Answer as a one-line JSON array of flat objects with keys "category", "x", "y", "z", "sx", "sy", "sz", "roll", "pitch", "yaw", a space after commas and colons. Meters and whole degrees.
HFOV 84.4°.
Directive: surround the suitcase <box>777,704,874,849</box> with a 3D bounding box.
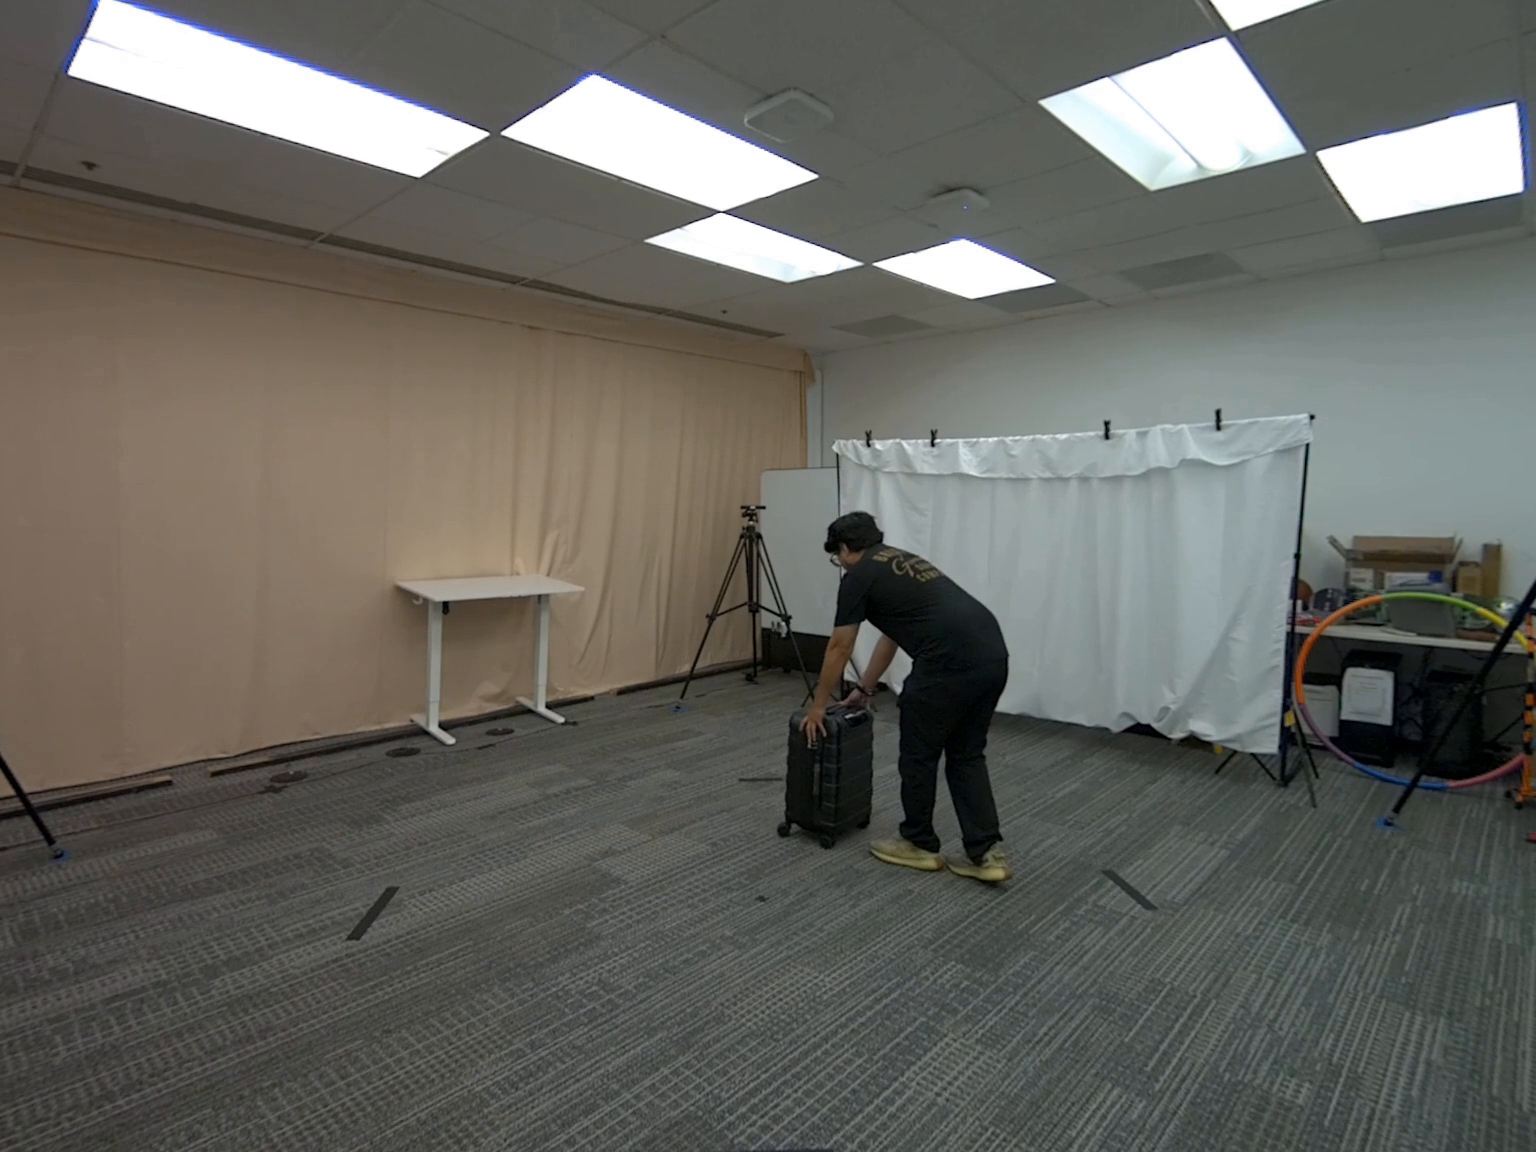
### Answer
[{"category": "suitcase", "x": 0.265, "y": 0.820, "z": 3.578, "sx": 0.256, "sy": 0.548, "sz": 0.364, "roll": 5, "pitch": 5, "yaw": 38}]
